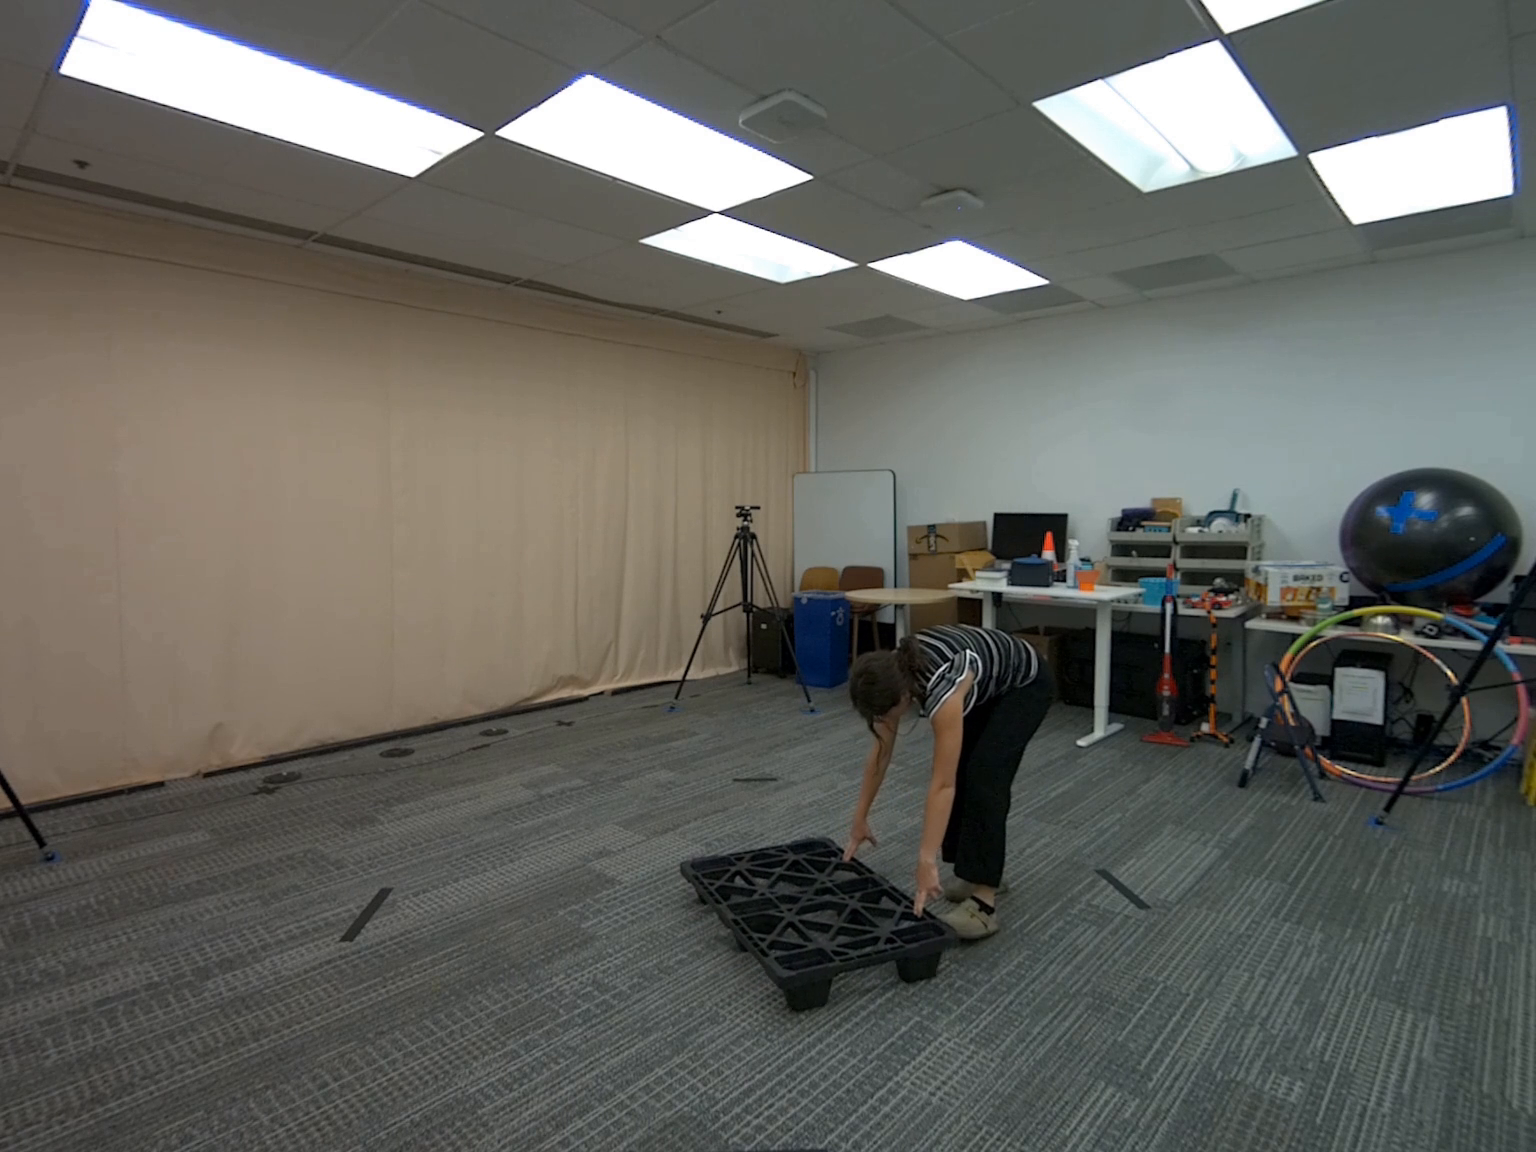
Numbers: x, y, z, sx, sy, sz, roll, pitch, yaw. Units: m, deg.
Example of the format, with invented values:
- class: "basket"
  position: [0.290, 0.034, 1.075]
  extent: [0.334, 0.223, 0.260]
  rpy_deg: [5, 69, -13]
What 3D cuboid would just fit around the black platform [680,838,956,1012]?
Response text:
- class: "black platform"
  position: [0.124, 1.097, 2.727]
  extent: [0.592, 0.143, 0.826]
  rpy_deg: [-3, 5, -24]
